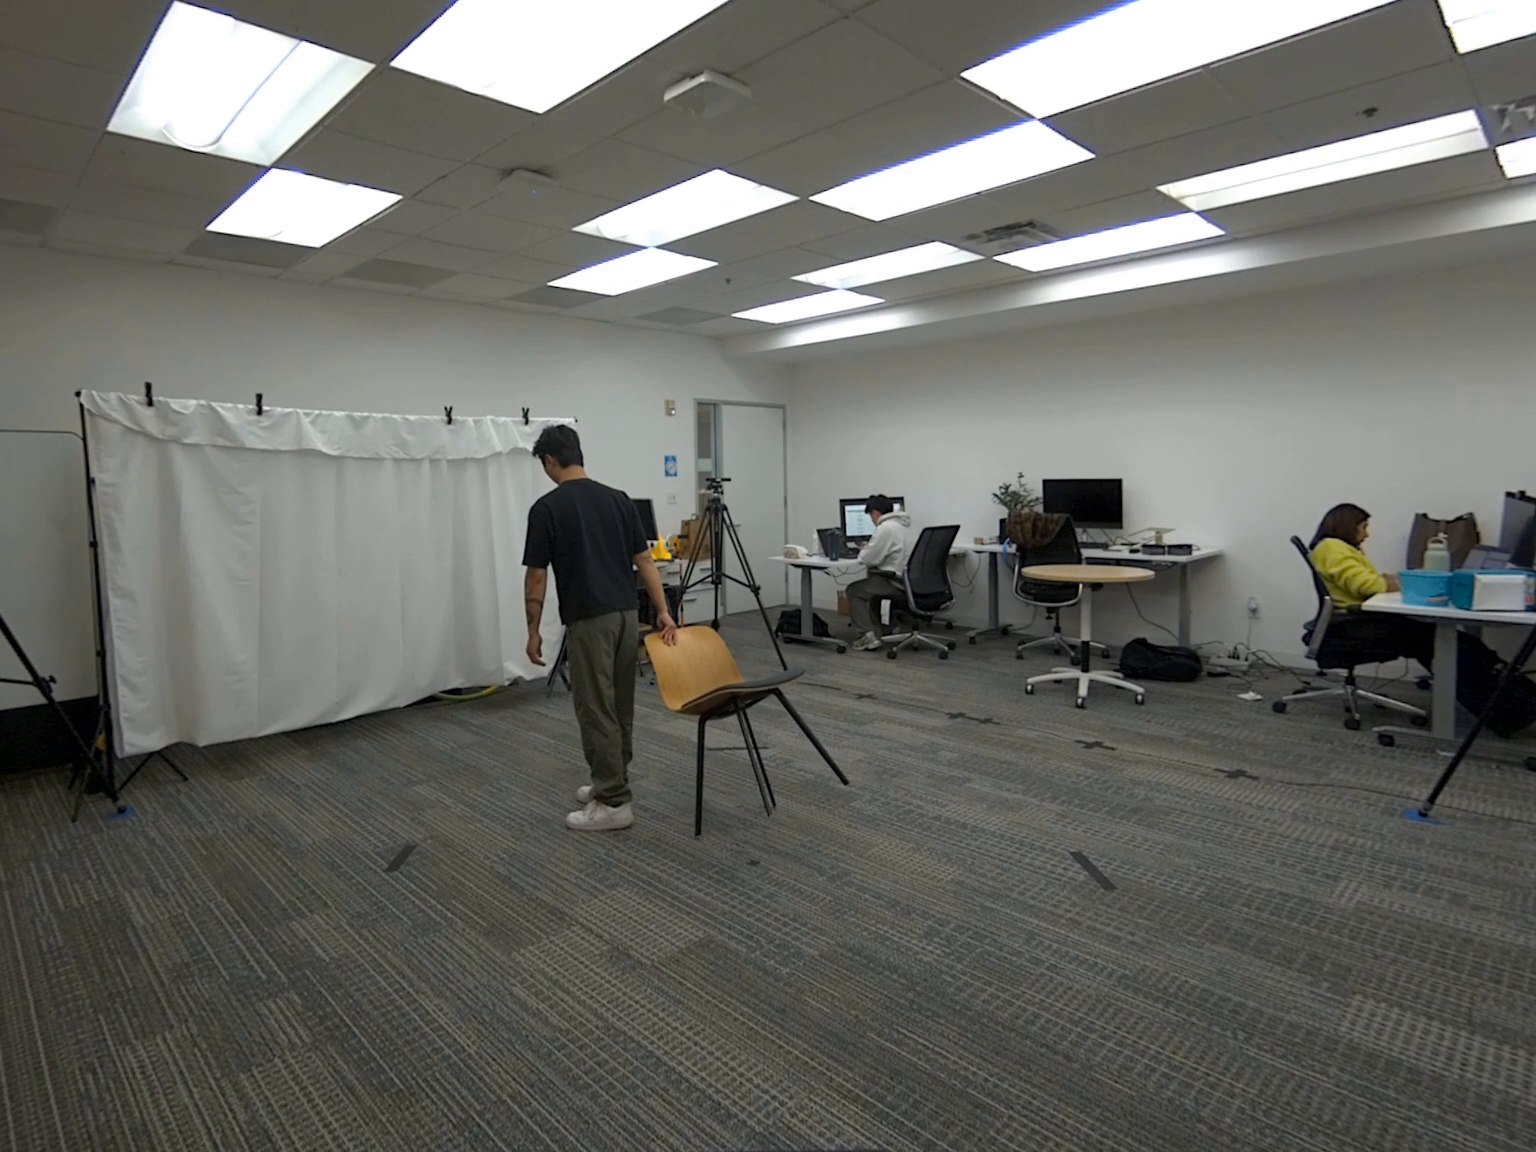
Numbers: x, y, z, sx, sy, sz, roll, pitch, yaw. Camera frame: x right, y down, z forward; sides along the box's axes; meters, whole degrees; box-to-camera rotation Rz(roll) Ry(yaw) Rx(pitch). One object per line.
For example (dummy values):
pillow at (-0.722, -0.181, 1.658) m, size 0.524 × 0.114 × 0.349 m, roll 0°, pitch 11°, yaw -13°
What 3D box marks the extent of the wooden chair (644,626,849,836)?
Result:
wooden chair at (-0.116, 0.514, 3.435) m, size 0.465 × 0.896 × 0.526 m, roll -4°, pitch -25°, yaw -44°
